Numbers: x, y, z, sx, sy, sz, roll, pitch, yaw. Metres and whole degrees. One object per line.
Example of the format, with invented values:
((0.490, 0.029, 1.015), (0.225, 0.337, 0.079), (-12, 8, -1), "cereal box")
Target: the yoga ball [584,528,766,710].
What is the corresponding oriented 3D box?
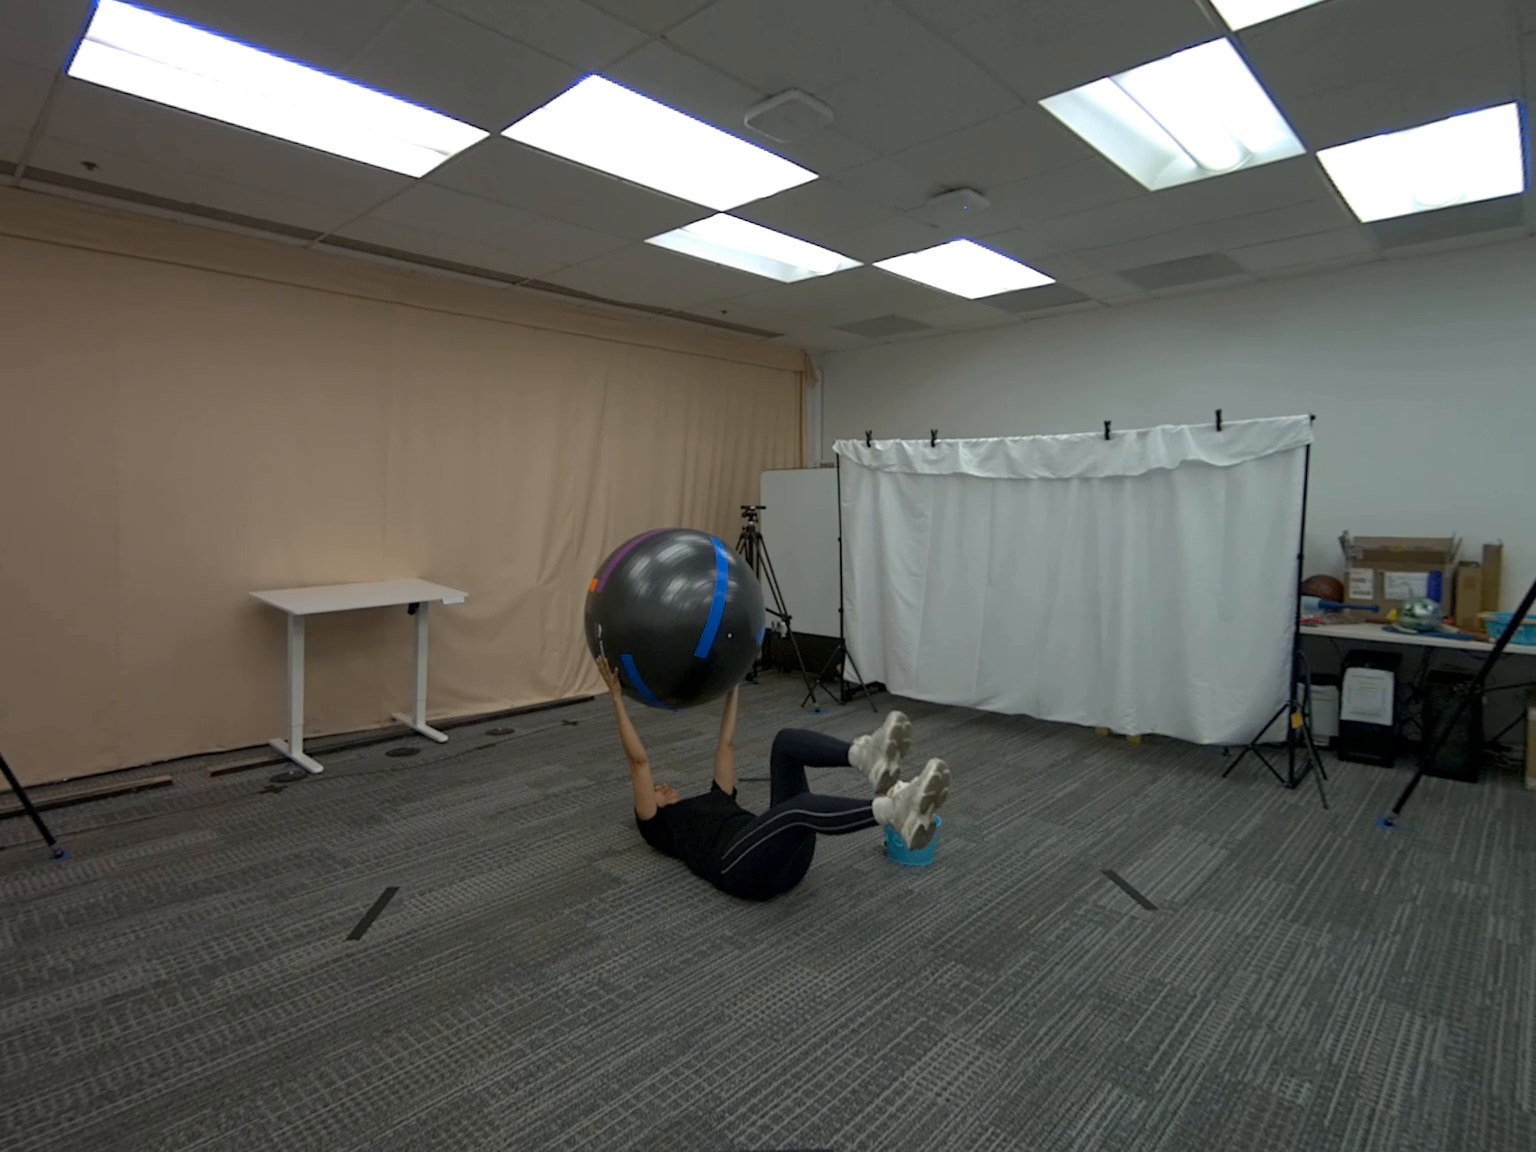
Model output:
((-0.387, 0.176, 3.527), (0.757, 0.756, 0.761), (3, 5, -2), "yoga ball")
